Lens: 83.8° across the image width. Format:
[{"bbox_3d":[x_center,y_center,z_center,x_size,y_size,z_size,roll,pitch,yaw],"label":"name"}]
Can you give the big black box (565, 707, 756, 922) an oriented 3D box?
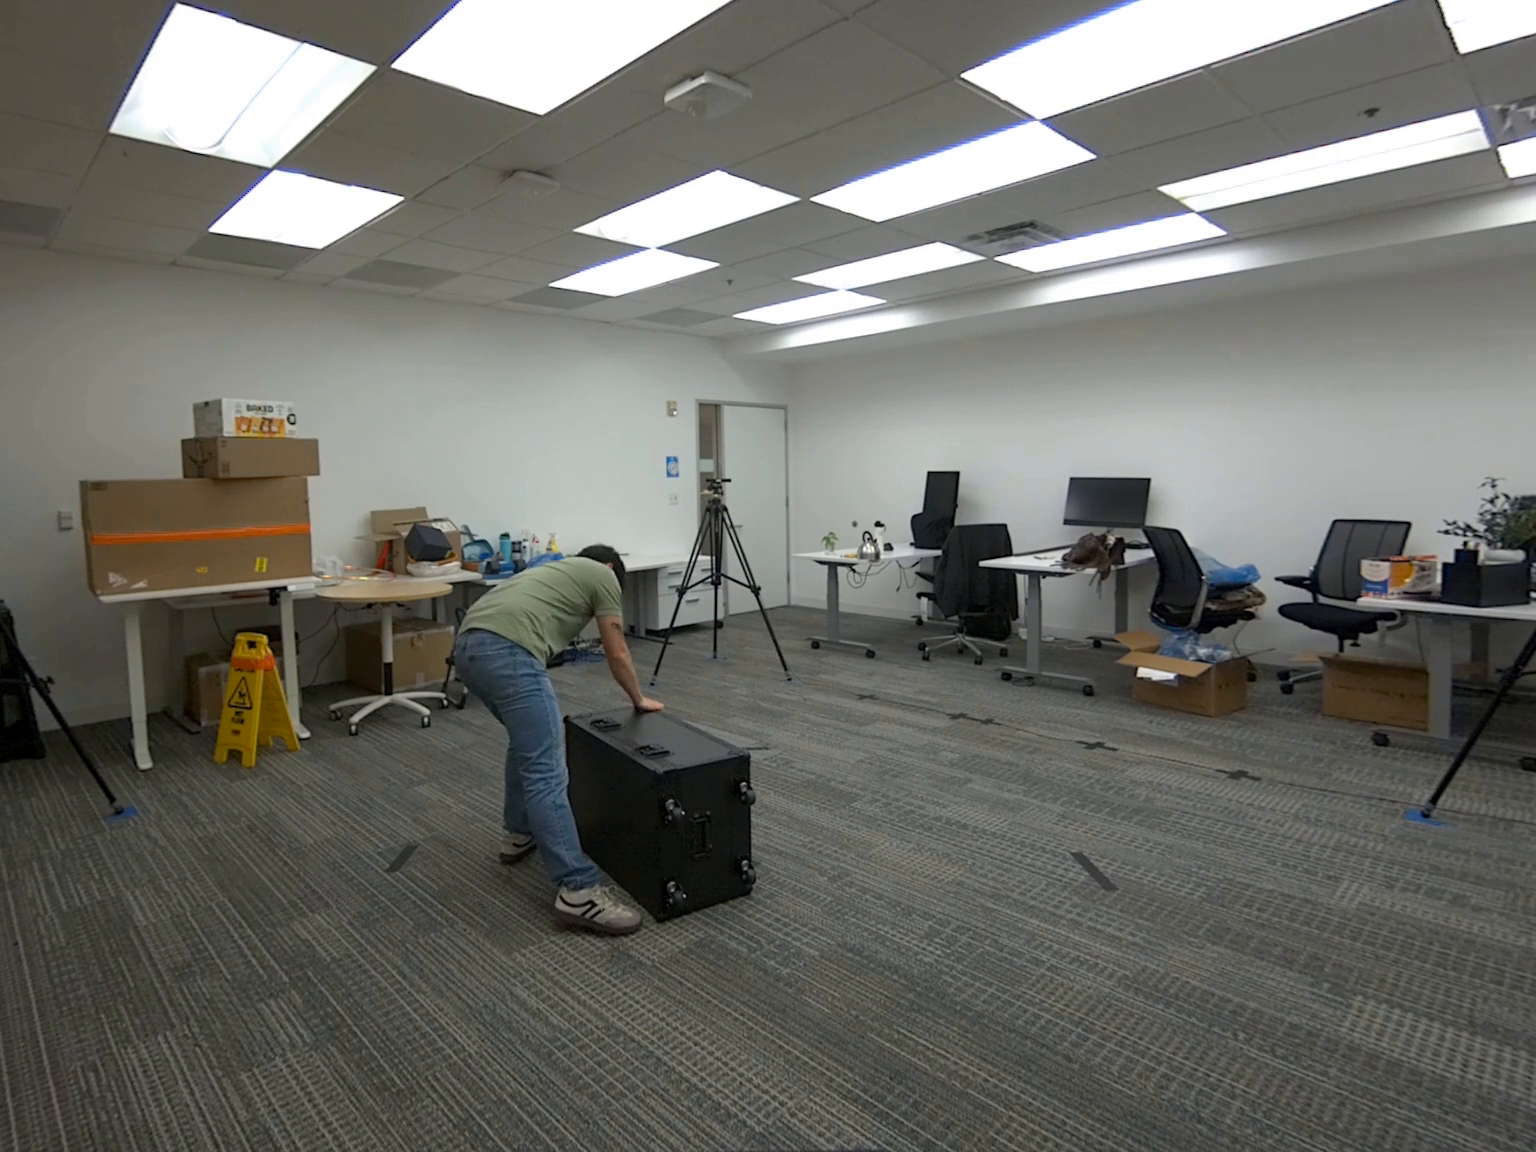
[{"bbox_3d":[-0.387,0.814,3.074,0.387,0.519,0.887,-4,7,-33],"label":"big black box"}]
